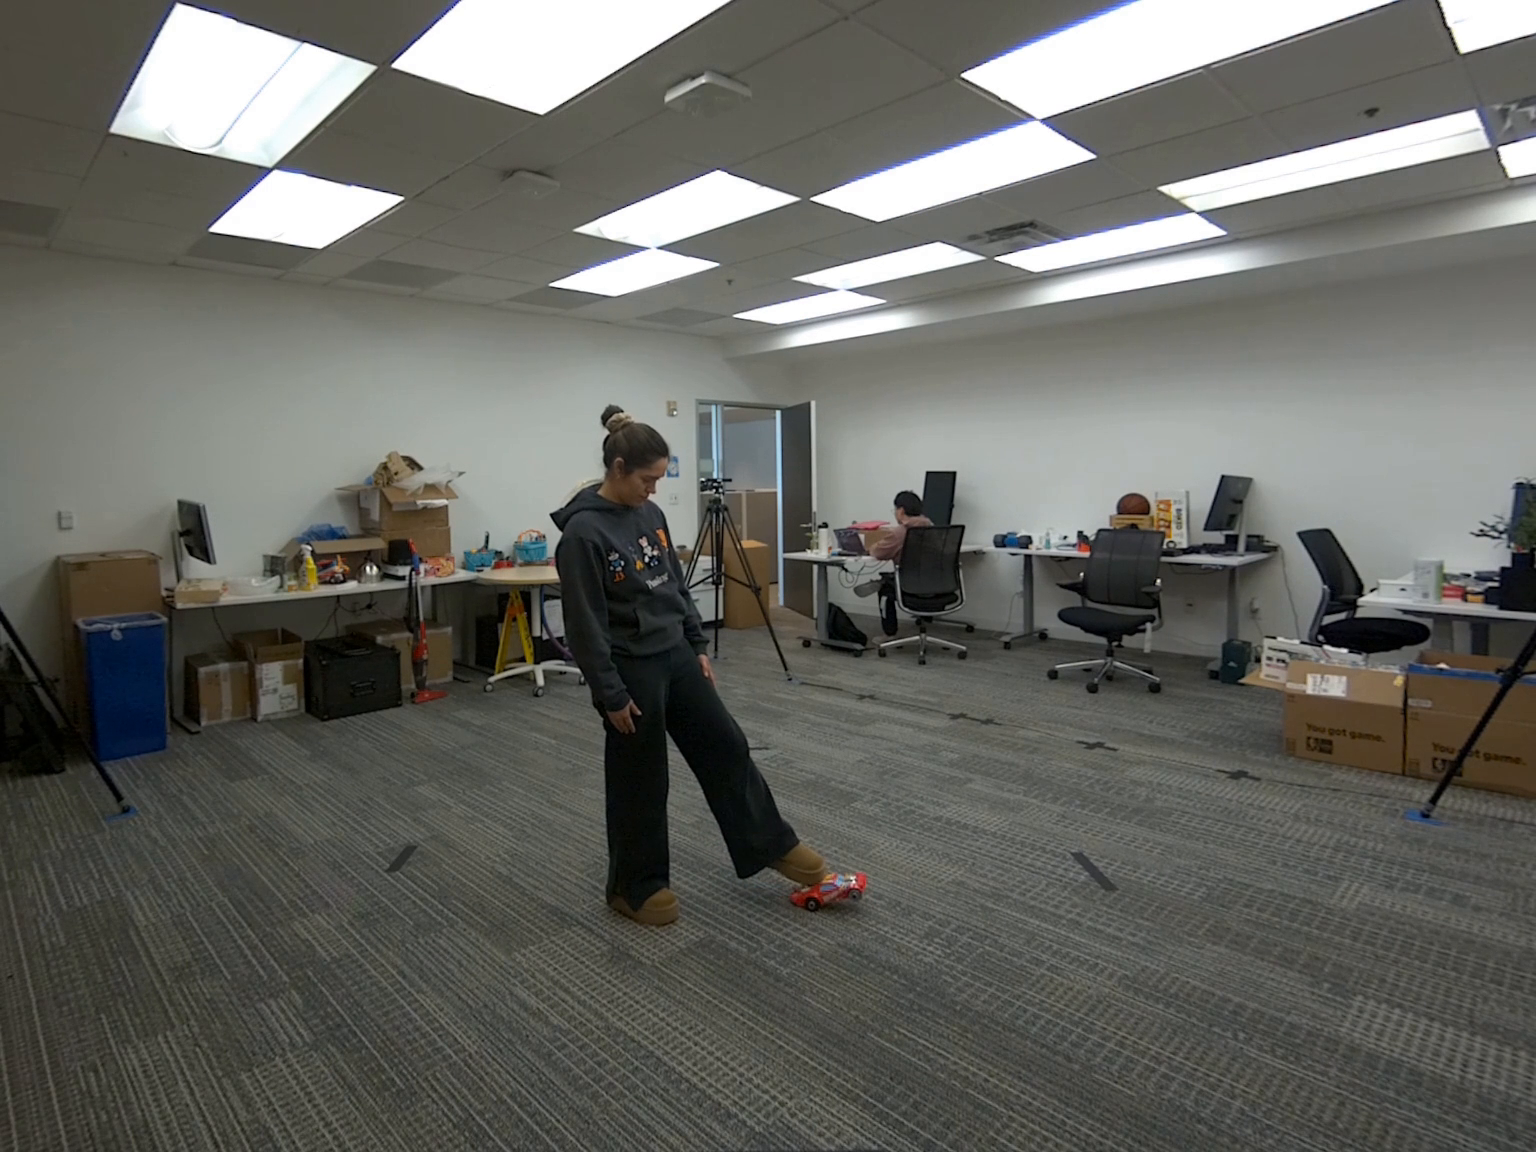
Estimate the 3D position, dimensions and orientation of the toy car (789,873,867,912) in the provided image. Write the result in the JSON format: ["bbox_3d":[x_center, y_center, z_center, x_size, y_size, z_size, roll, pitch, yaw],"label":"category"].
[{"bbox_3d":[0.199,1.027,2.767,0.258,0.083,0.129,-9,5,17],"label":"toy car"}]
